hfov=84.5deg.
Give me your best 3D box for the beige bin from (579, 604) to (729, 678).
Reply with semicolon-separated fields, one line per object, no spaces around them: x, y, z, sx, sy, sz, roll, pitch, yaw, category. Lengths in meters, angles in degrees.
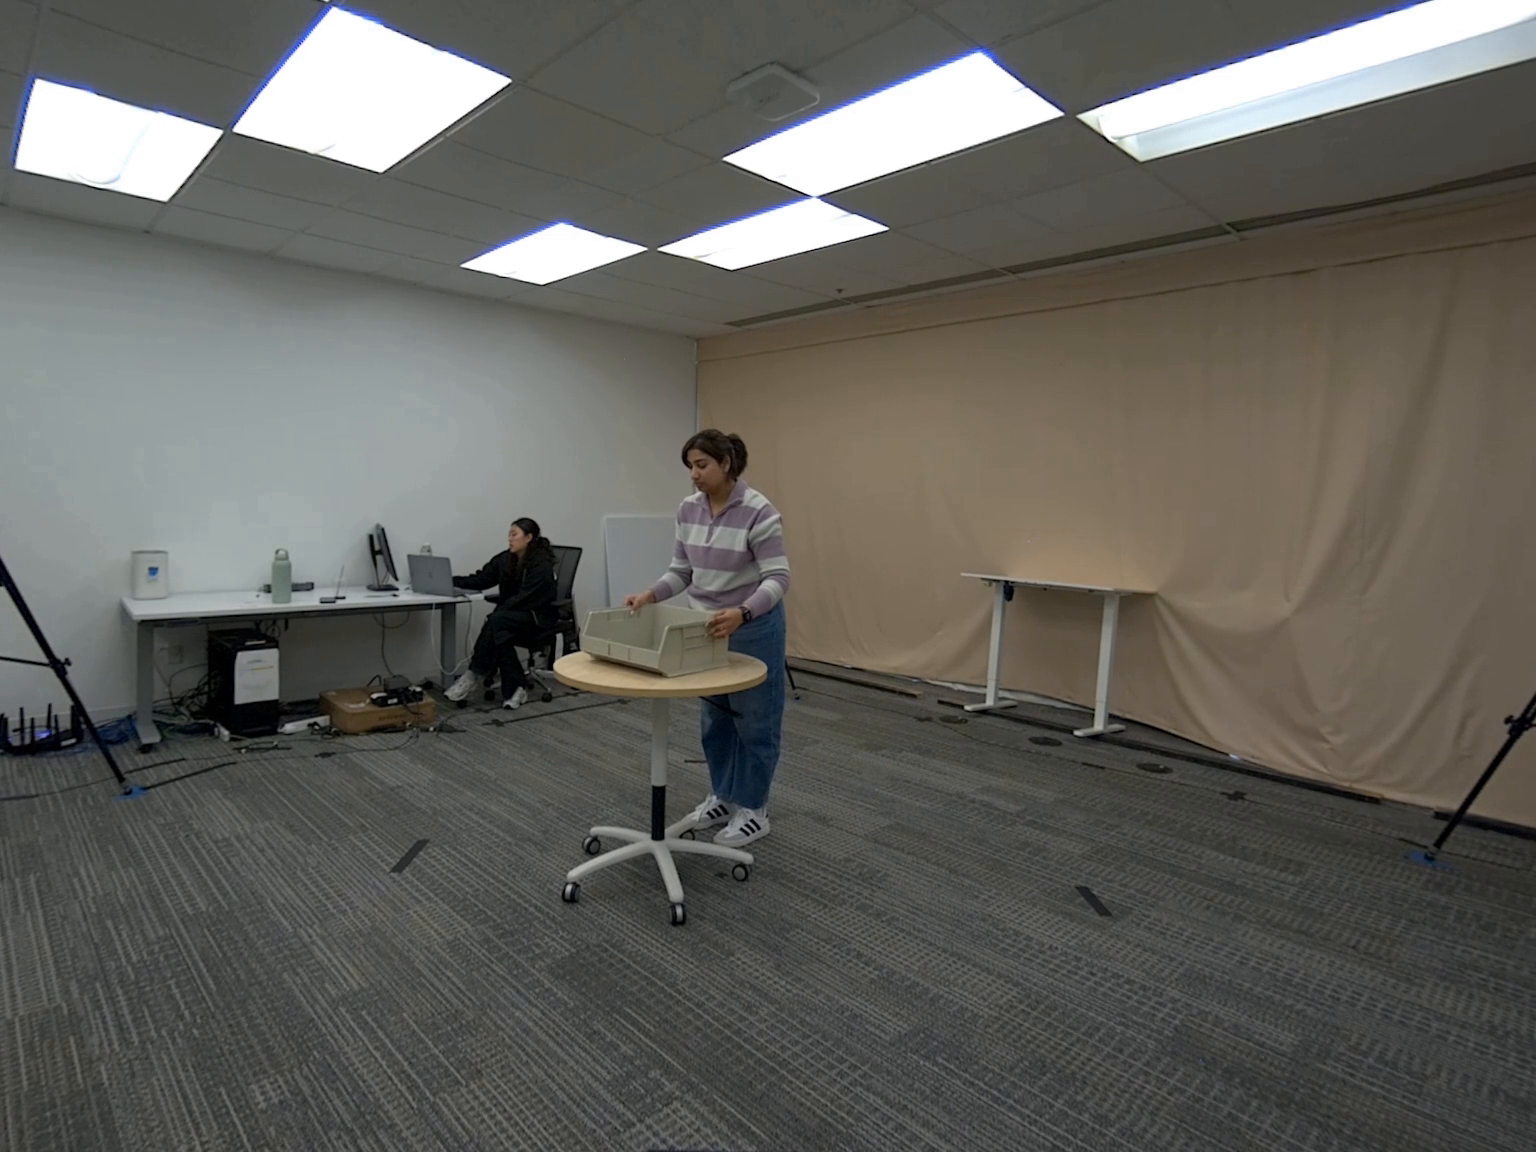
-0.405;0.222;3.051;0.433;0.188;0.368;6;4;38;beige bin
